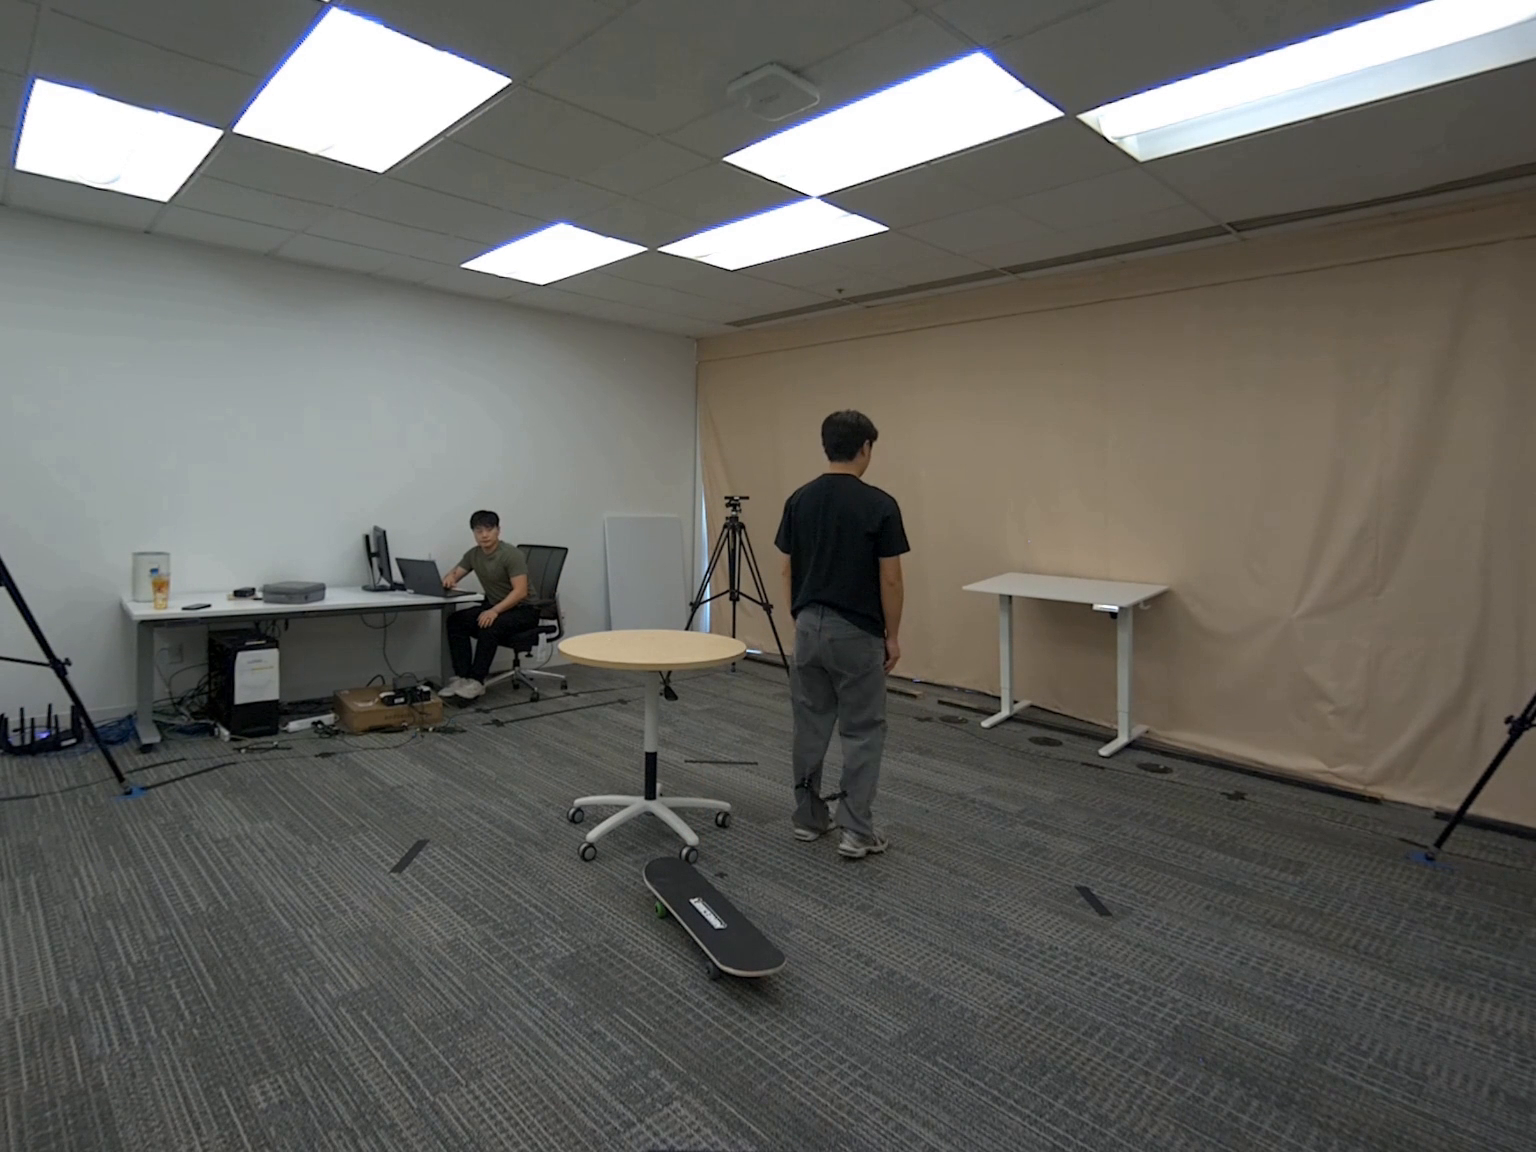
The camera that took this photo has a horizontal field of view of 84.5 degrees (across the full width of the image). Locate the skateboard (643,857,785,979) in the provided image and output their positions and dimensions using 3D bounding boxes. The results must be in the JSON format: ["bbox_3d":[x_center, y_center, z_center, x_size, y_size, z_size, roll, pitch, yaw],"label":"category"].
[{"bbox_3d":[-0.194,1.089,2.642,0.190,0.110,0.803,-2,6,-28],"label":"skateboard"}]
